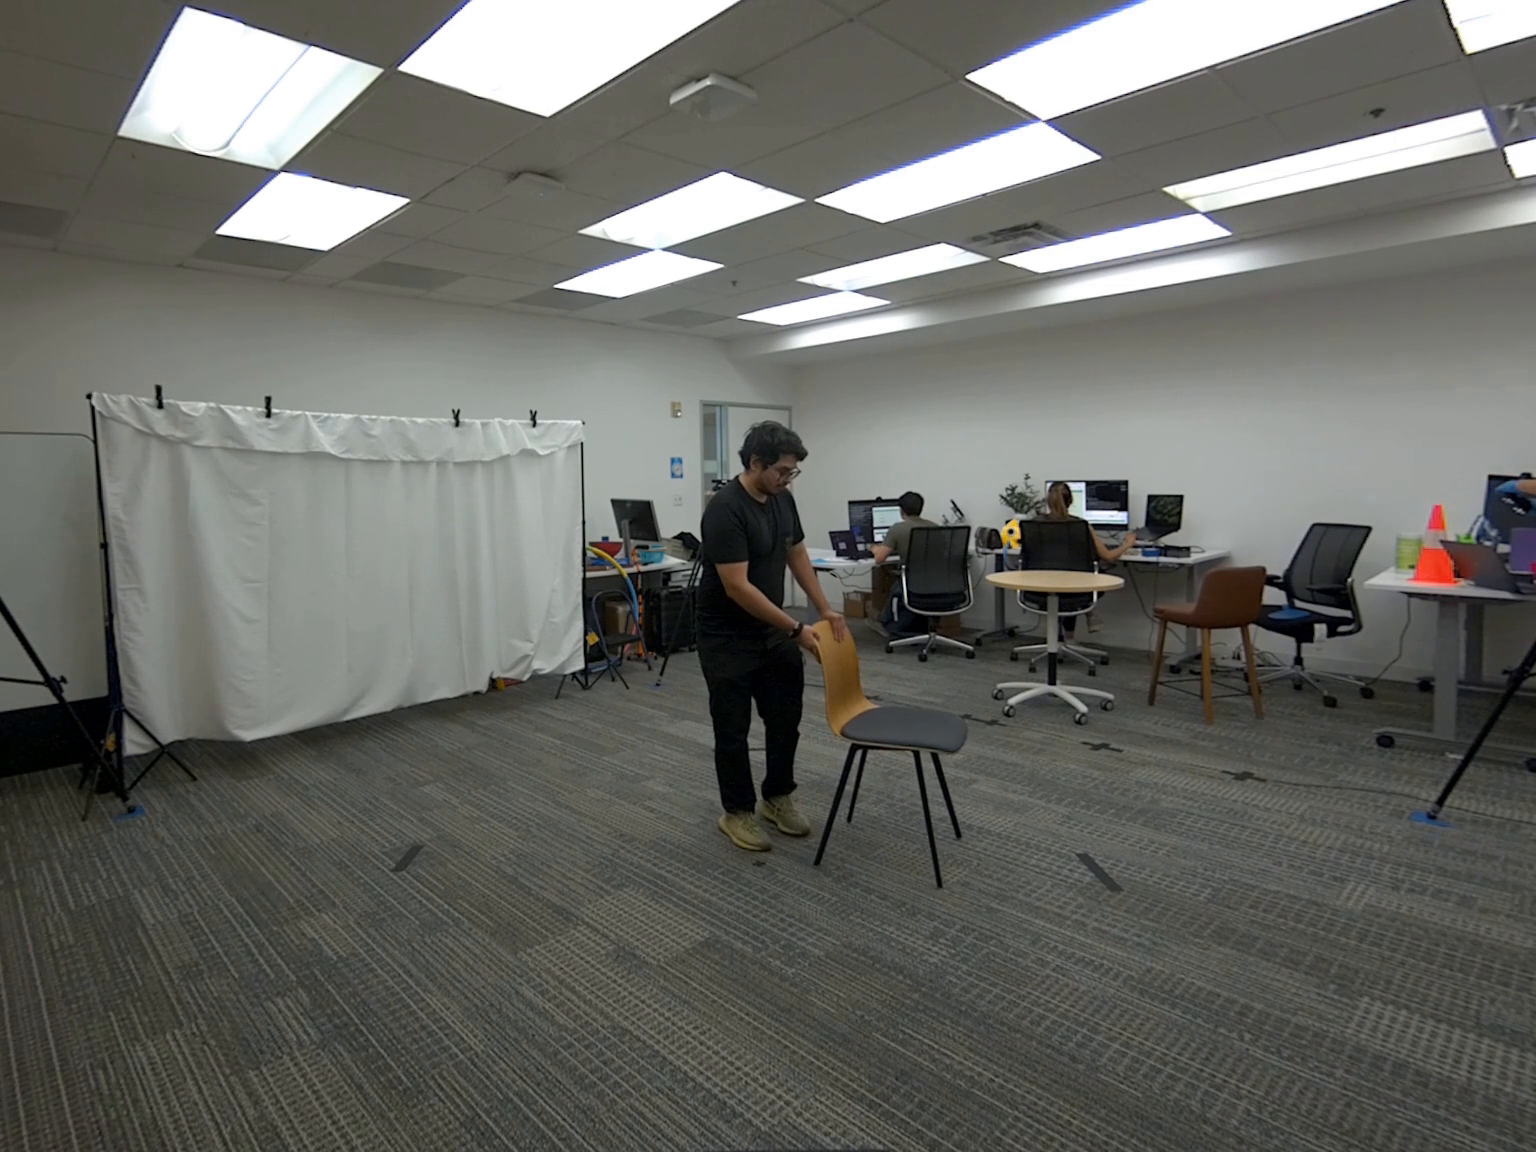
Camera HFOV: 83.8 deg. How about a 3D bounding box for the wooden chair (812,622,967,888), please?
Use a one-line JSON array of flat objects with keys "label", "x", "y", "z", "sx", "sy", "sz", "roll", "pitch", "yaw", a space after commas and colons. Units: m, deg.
[{"label": "wooden chair", "x": 0.458, "y": 0.601, "z": 3.159, "sx": 0.533, "sy": 0.876, "sz": 0.469, "roll": -4, "pitch": 2, "yaw": 23}]
